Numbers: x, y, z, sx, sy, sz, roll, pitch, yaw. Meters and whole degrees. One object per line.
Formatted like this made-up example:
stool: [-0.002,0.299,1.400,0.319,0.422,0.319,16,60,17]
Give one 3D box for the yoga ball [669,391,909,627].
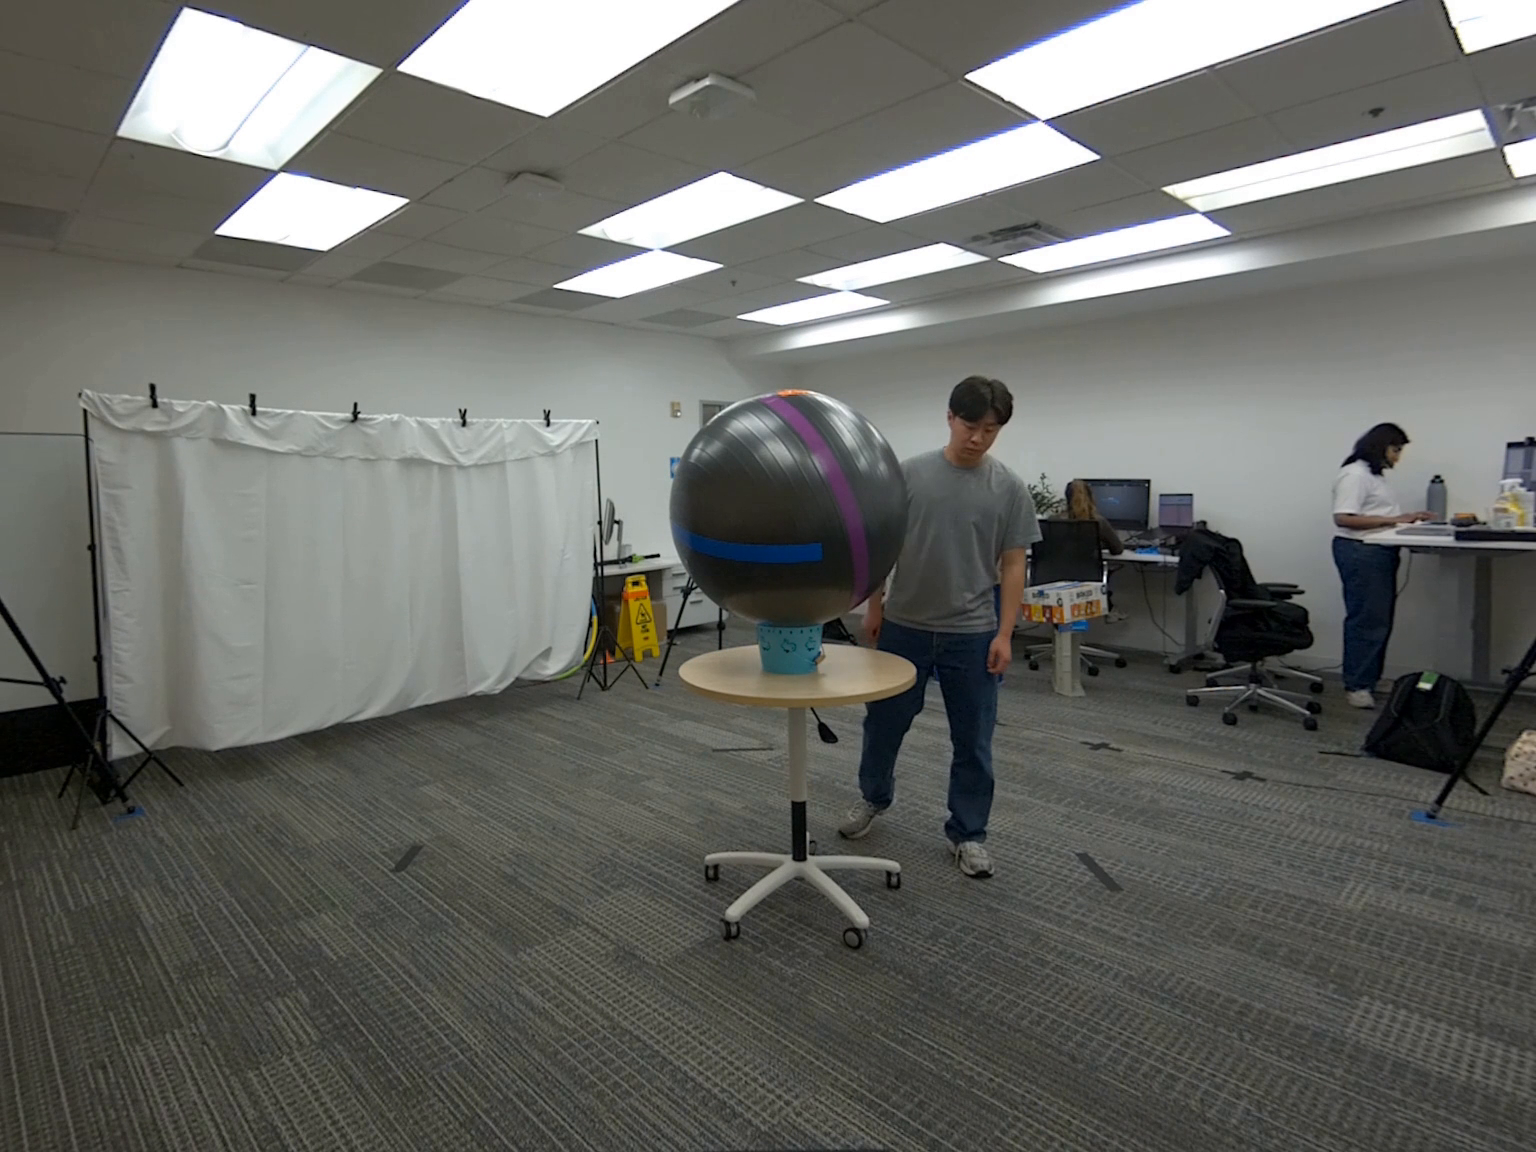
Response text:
yoga ball: [0.065,-0.212,2.744,0.757,0.755,0.762,-1,5,-2]
